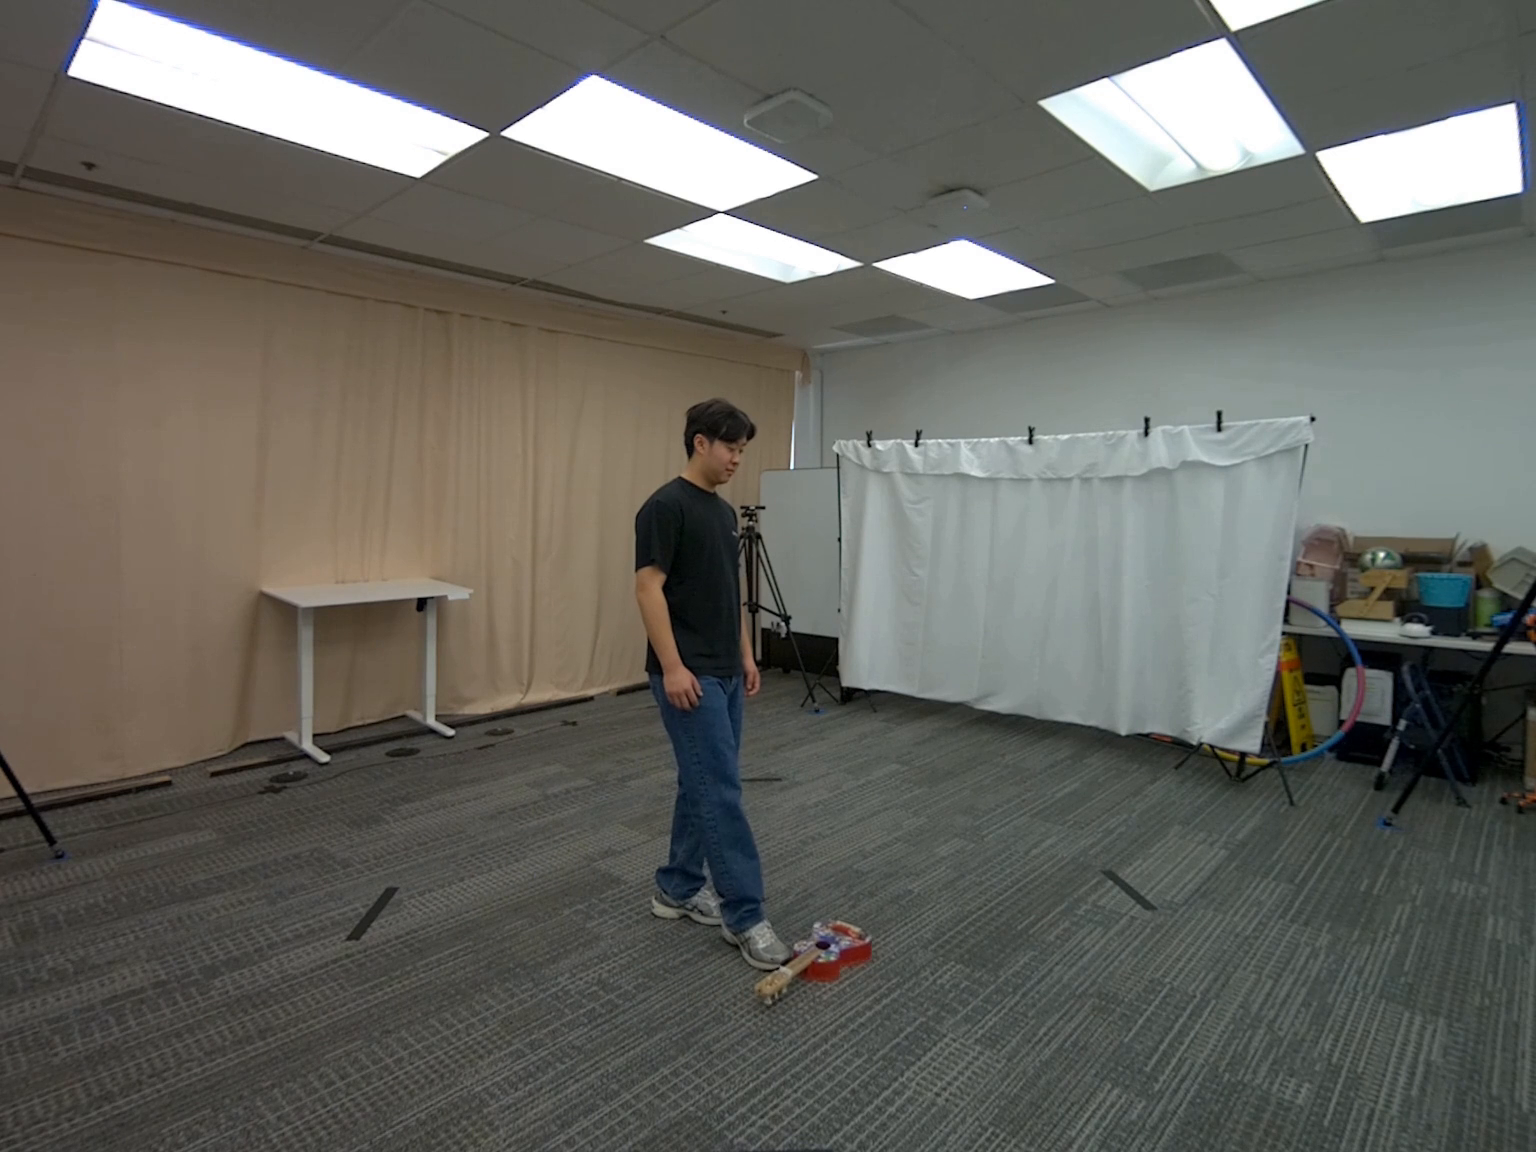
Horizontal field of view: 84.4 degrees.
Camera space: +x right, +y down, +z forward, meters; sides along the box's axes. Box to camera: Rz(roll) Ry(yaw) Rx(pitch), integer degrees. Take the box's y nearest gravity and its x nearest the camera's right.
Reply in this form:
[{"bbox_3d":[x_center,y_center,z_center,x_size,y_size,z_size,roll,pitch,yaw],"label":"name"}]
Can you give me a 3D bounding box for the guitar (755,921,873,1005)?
[{"bbox_3d":[0.103,1.148,2.513,0.482,0.070,0.199,-4,6,-43],"label":"guitar"}]
